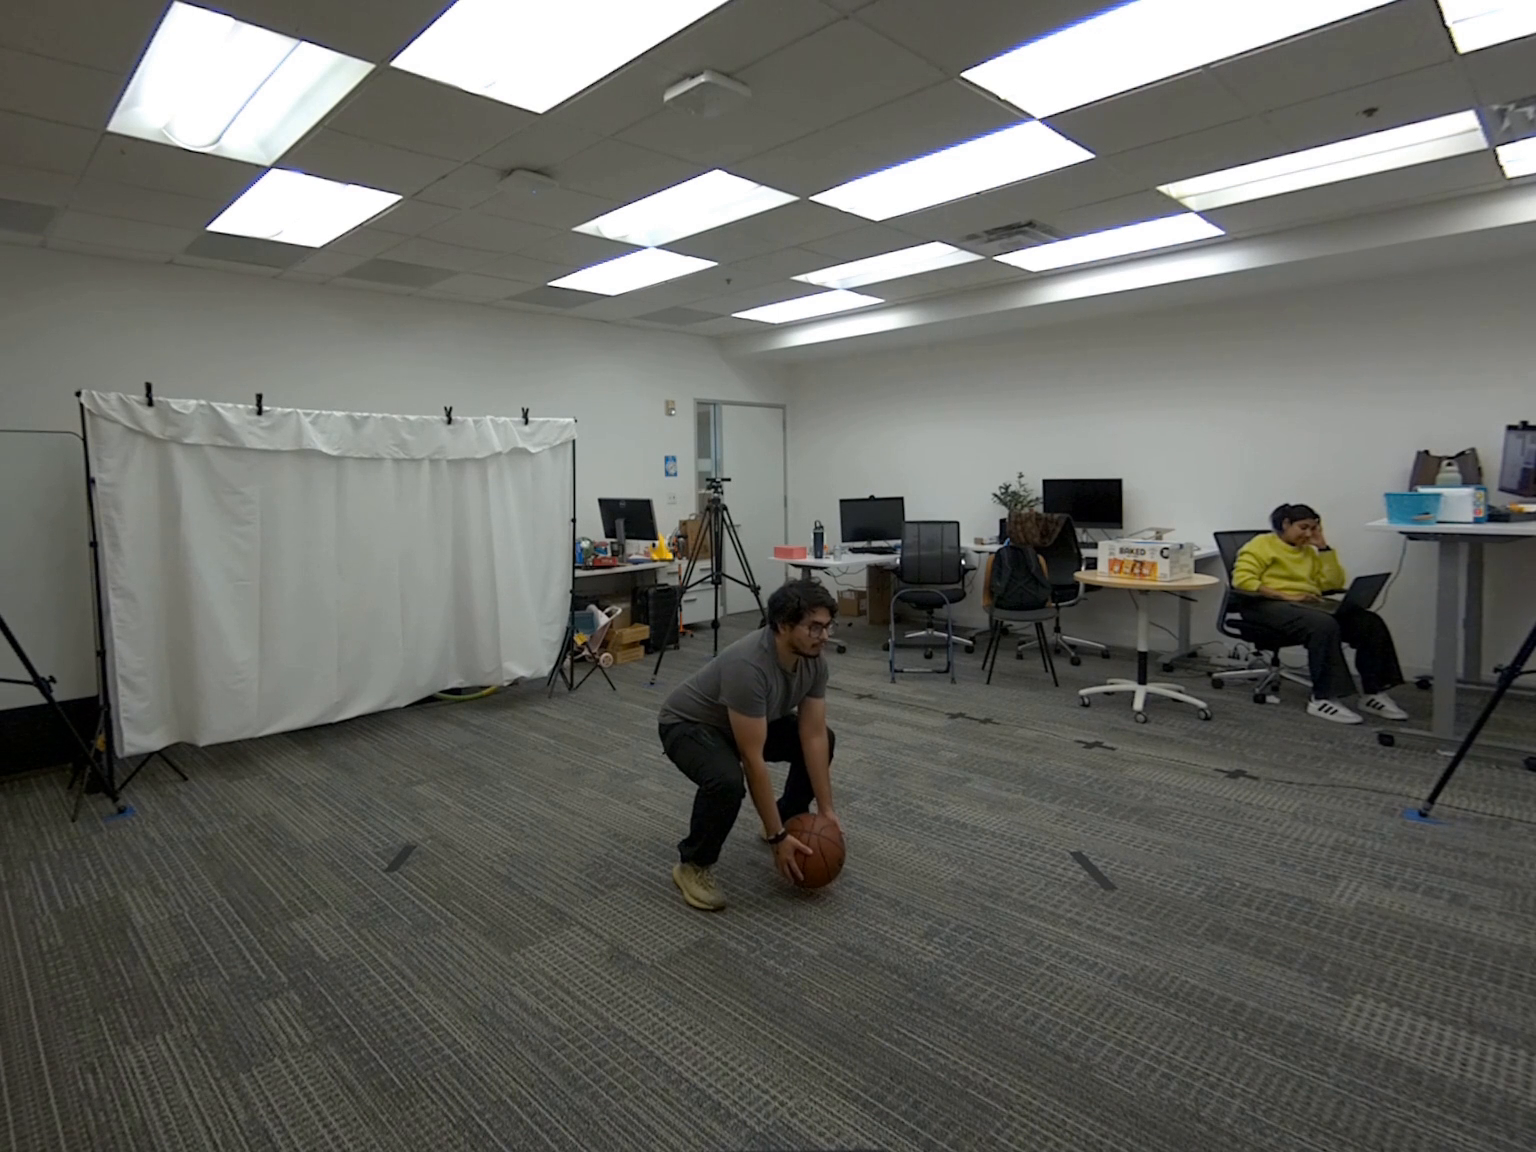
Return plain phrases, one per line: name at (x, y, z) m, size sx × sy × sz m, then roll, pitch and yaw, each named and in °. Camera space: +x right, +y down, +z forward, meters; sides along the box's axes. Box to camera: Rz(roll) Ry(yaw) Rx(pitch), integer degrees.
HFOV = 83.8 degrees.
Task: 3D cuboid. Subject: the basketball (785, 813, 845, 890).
basketball at (0.138, 0.915, 2.871) m, size 0.236 × 0.235 × 0.237 m, roll -1°, pitch 5°, yaw -2°
